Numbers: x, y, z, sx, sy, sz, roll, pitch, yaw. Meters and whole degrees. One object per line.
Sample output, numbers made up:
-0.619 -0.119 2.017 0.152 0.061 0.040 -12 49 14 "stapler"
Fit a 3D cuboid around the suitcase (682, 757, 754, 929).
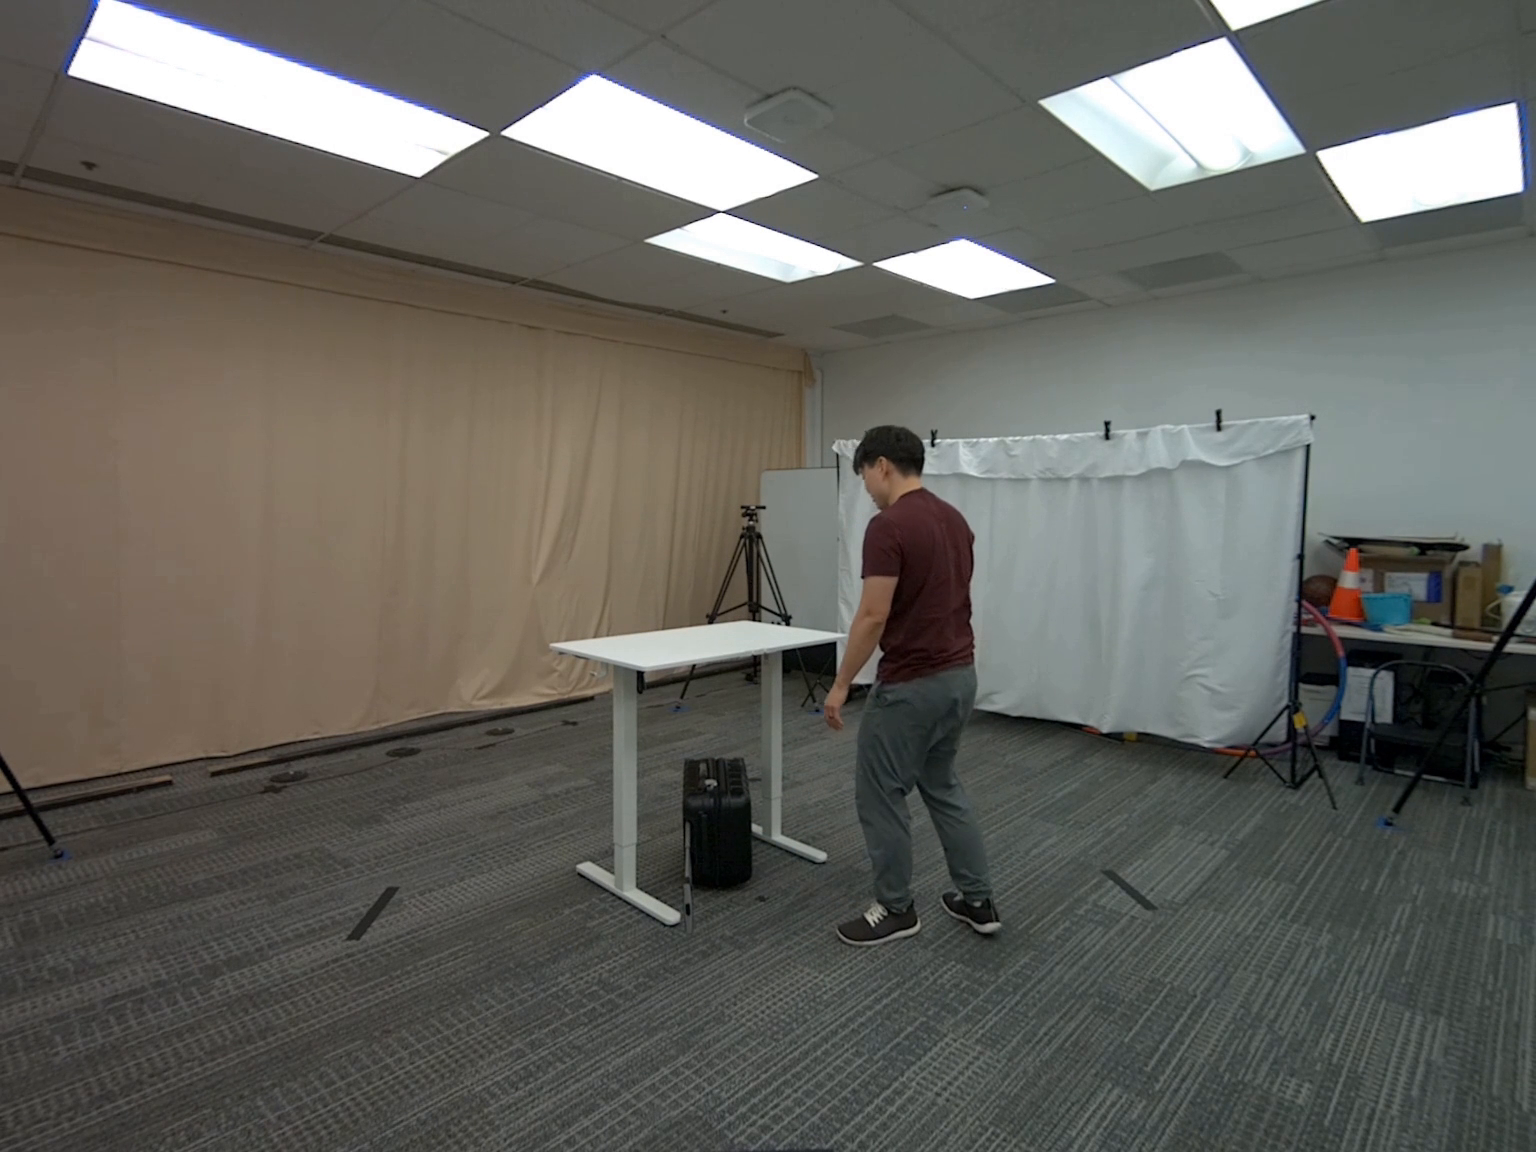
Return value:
-0.171 0.951 3.050 0.255 0.383 0.987 -2 6 -7 "suitcase"
